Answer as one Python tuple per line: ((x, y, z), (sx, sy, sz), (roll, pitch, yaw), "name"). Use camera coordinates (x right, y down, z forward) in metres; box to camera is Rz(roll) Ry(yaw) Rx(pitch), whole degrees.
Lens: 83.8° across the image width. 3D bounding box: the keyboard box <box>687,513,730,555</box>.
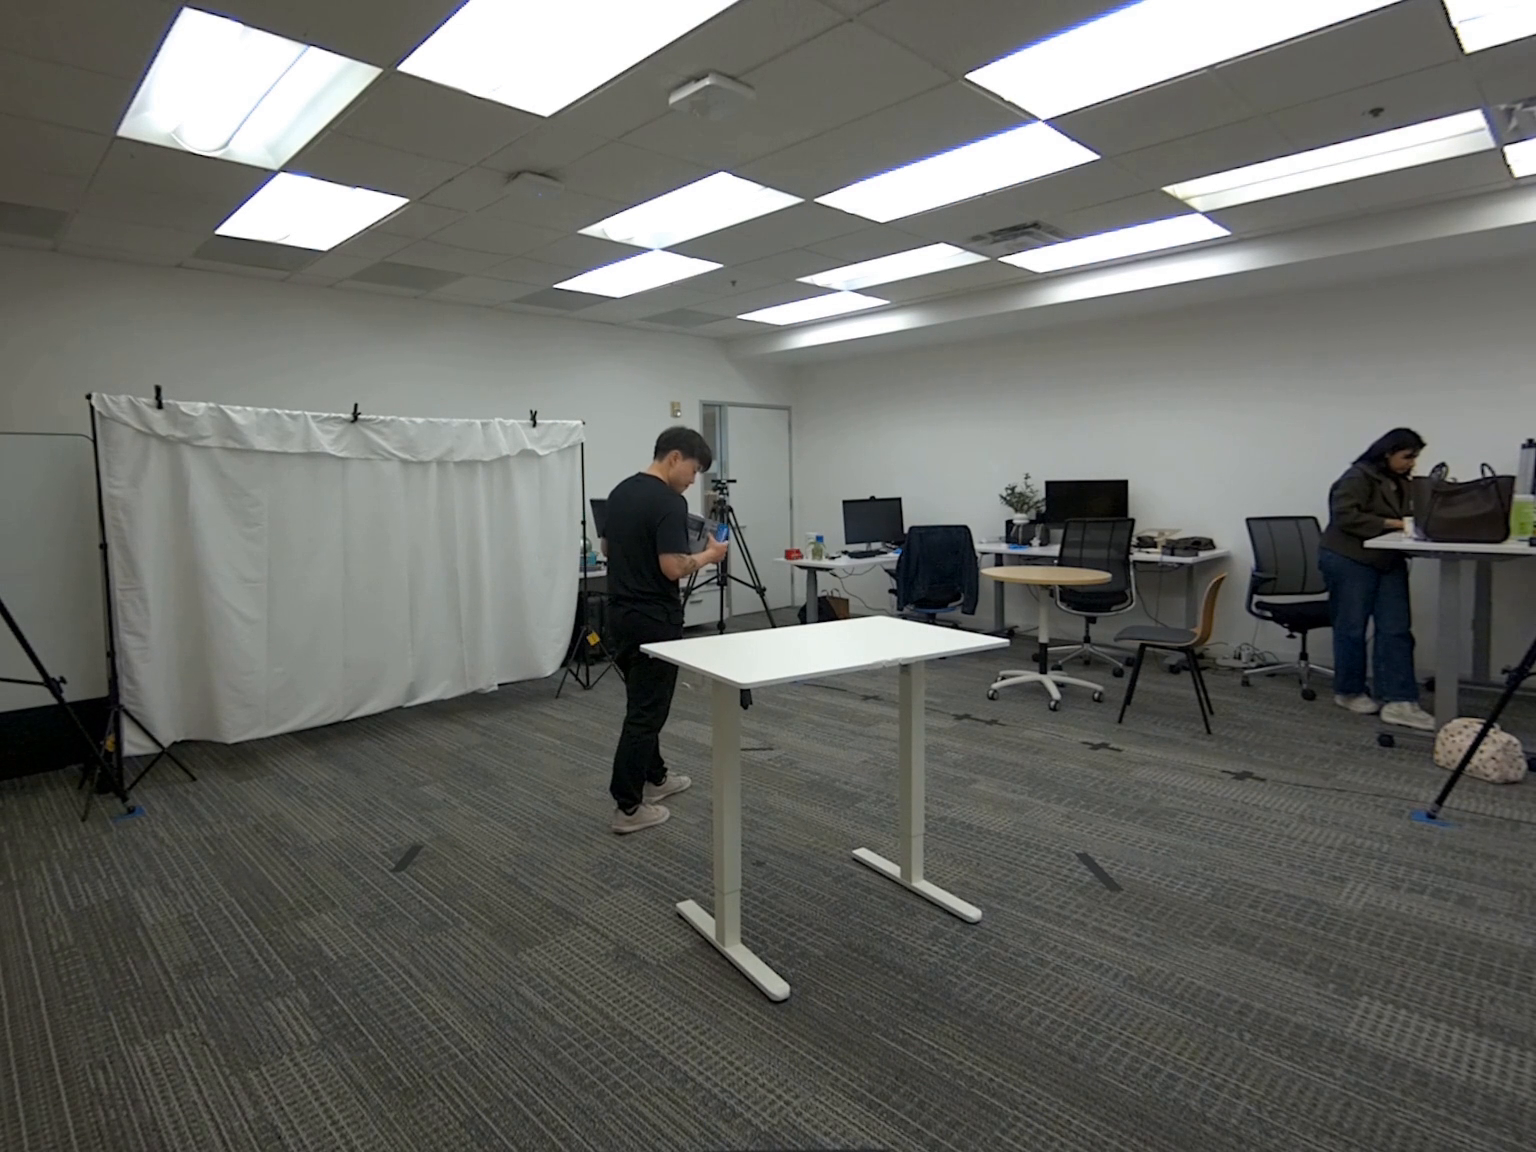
((-0.339, -0.180, 3.731), (0.057, 0.176, 0.452), (18, 1, -39), "keyboard box")
